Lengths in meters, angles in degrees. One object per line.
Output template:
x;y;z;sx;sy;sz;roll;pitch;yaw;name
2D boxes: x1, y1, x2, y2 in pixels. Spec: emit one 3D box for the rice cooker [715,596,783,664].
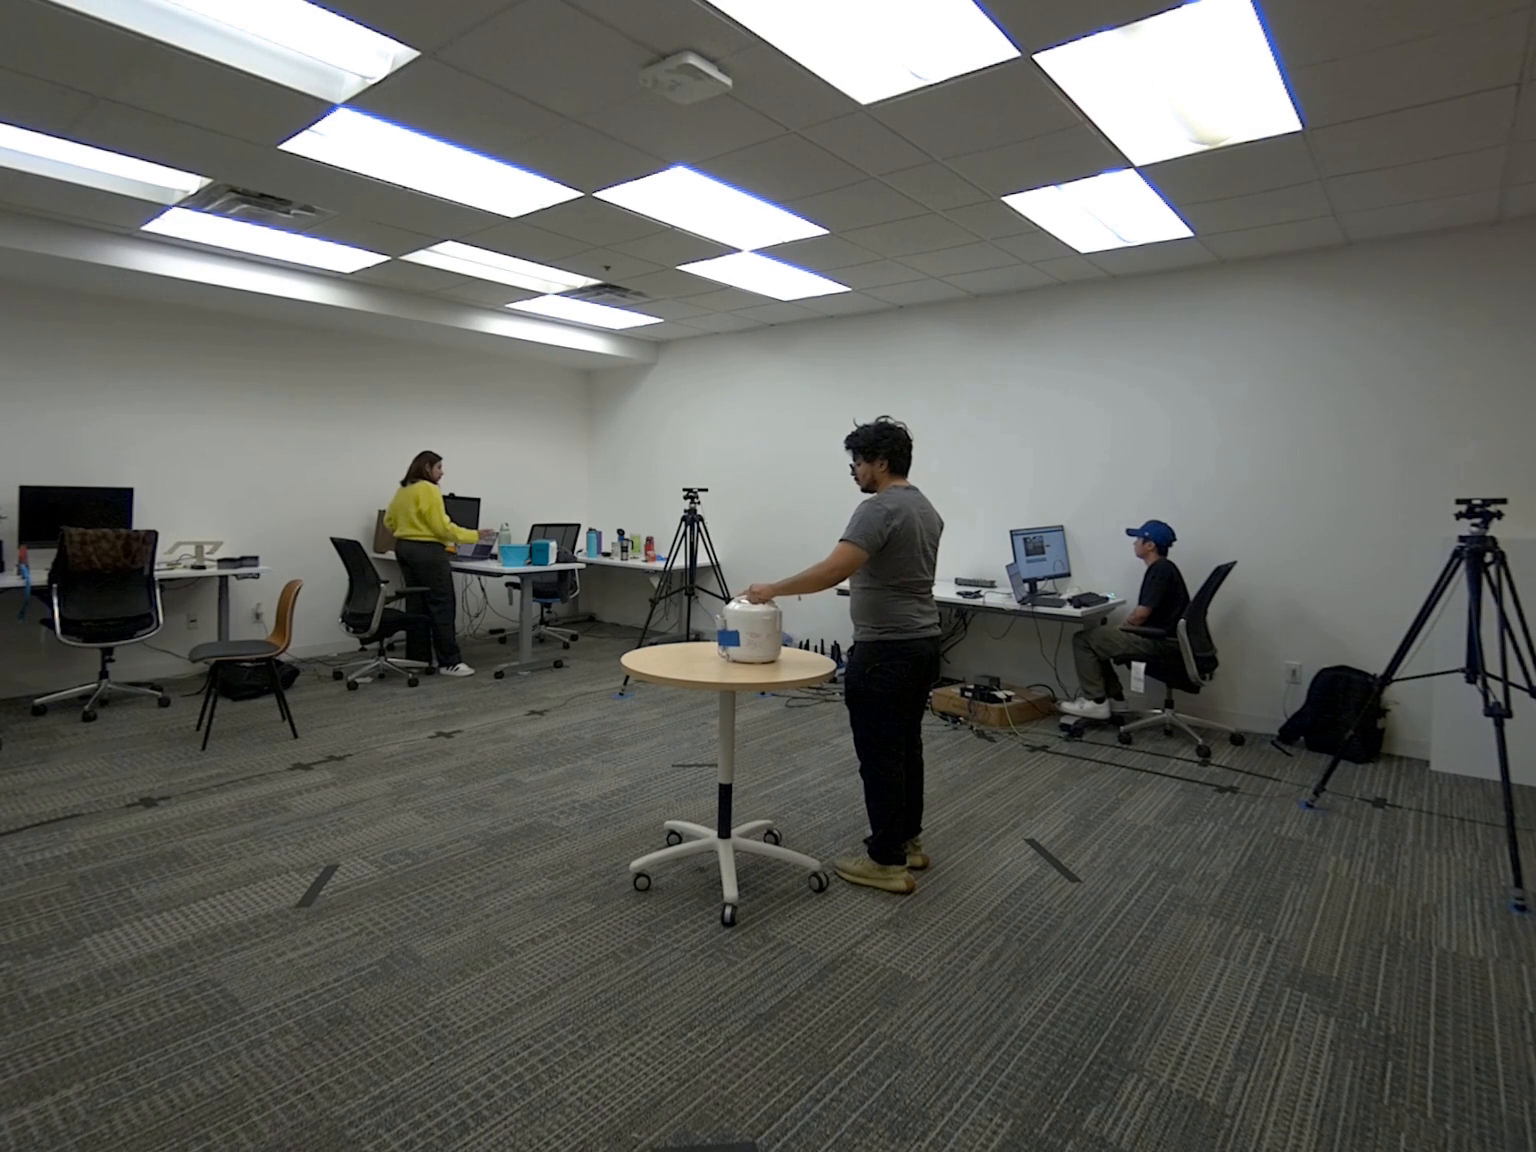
-0.069;0.180;3.055;0.226;0.232;0.213;3;5;24;rice cooker
